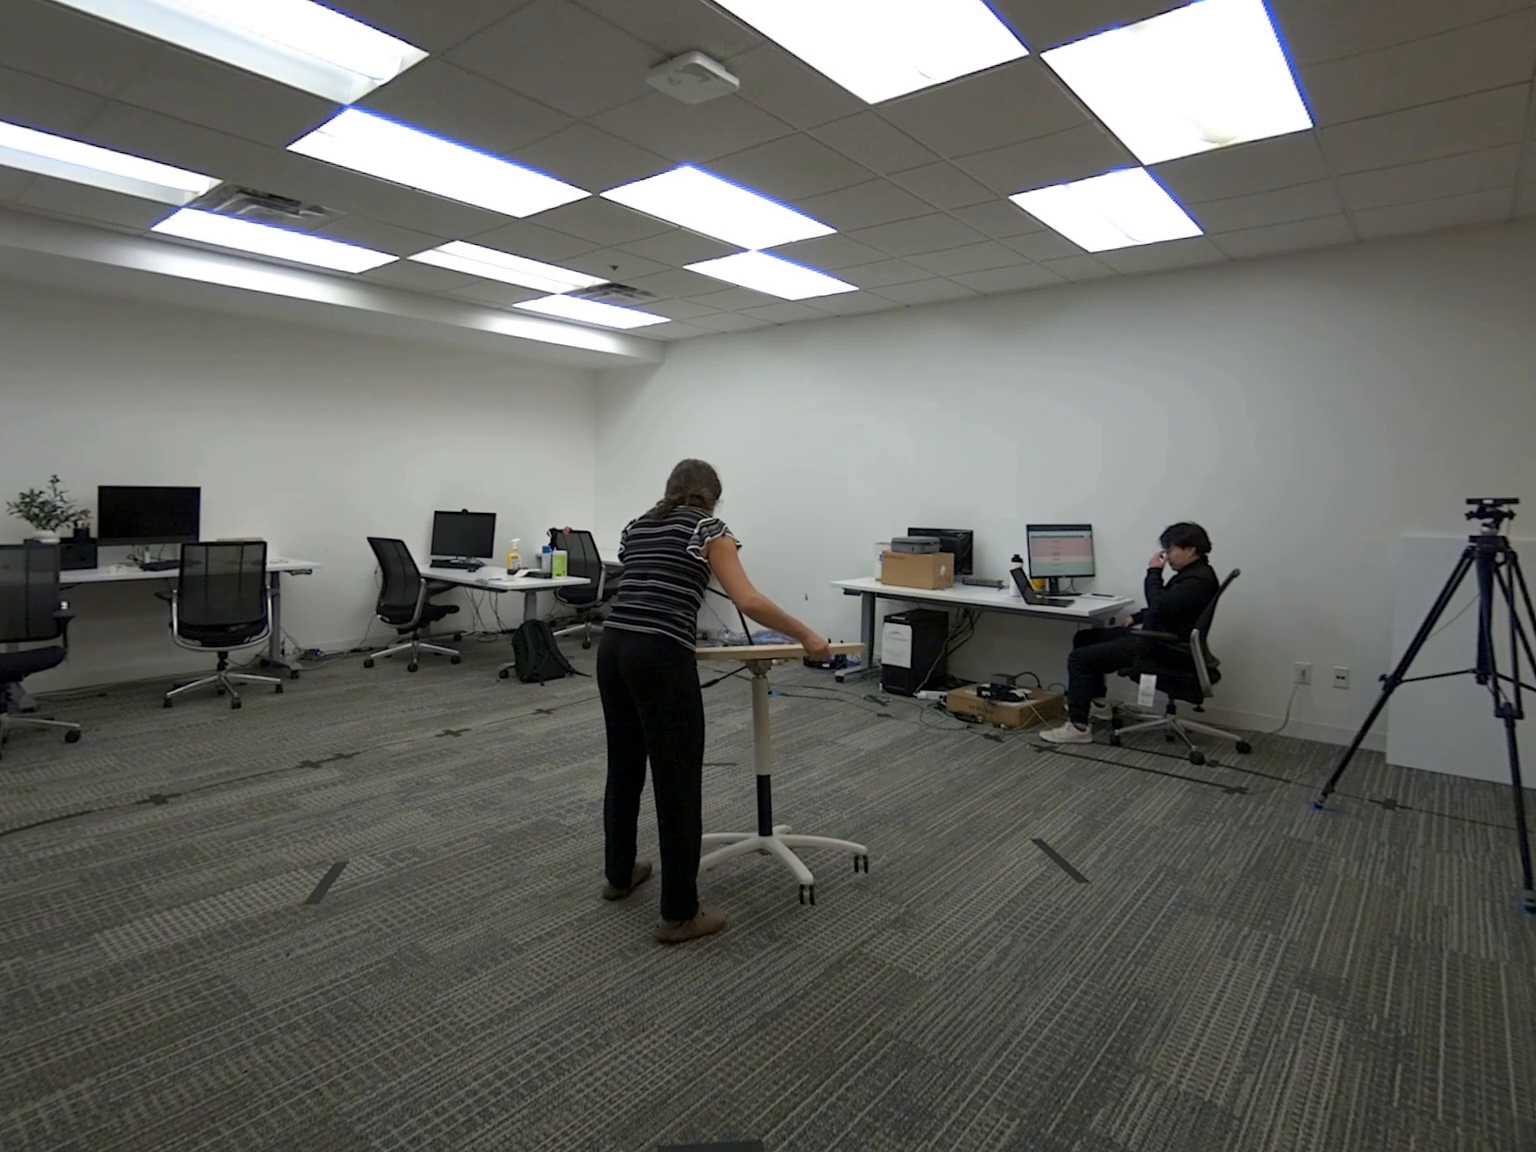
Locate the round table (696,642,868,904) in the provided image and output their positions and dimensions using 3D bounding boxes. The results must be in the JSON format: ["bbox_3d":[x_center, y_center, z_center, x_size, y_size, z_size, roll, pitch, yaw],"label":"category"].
[{"bbox_3d":[-0.022,0.652,2.995,0.763,0.799,0.761,-2,-5,-2],"label":"round table"}]
